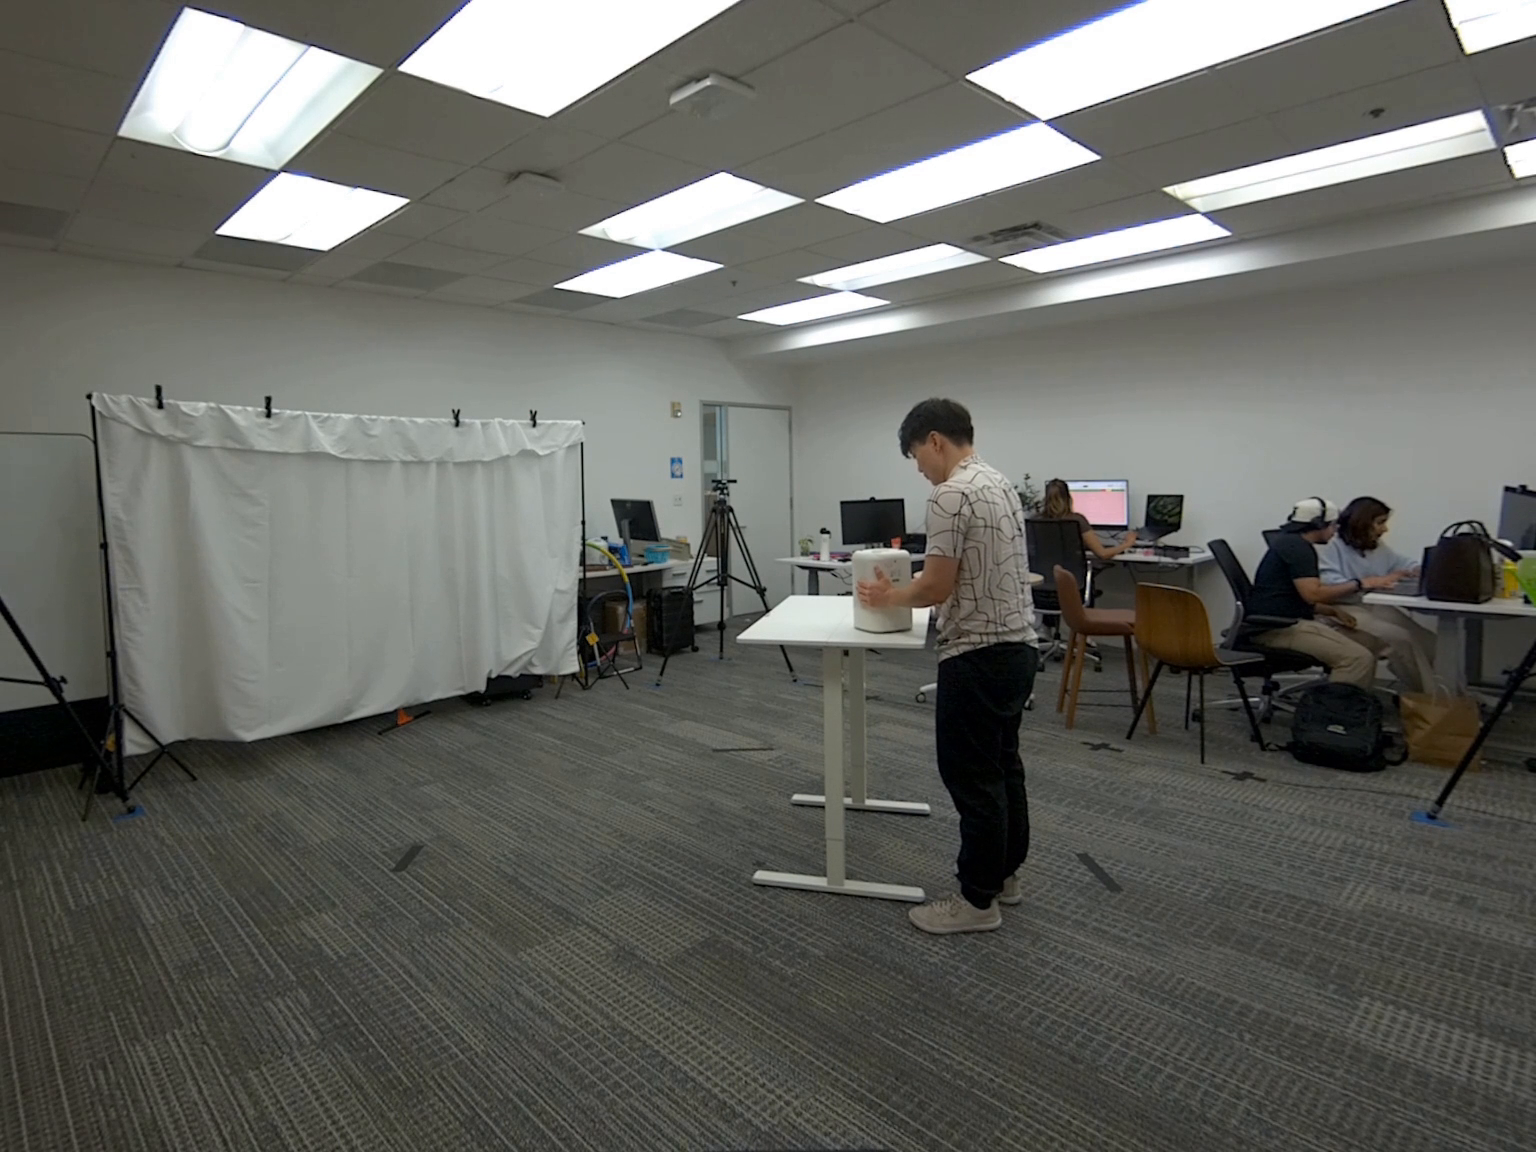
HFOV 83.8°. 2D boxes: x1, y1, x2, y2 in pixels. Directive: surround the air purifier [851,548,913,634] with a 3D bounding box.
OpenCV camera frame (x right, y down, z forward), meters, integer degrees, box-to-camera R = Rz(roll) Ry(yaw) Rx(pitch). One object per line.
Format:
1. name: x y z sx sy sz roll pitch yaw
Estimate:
1. air purifier: 0.398 0.043 2.902 0.168 0.264 0.175 -3 4 -21
